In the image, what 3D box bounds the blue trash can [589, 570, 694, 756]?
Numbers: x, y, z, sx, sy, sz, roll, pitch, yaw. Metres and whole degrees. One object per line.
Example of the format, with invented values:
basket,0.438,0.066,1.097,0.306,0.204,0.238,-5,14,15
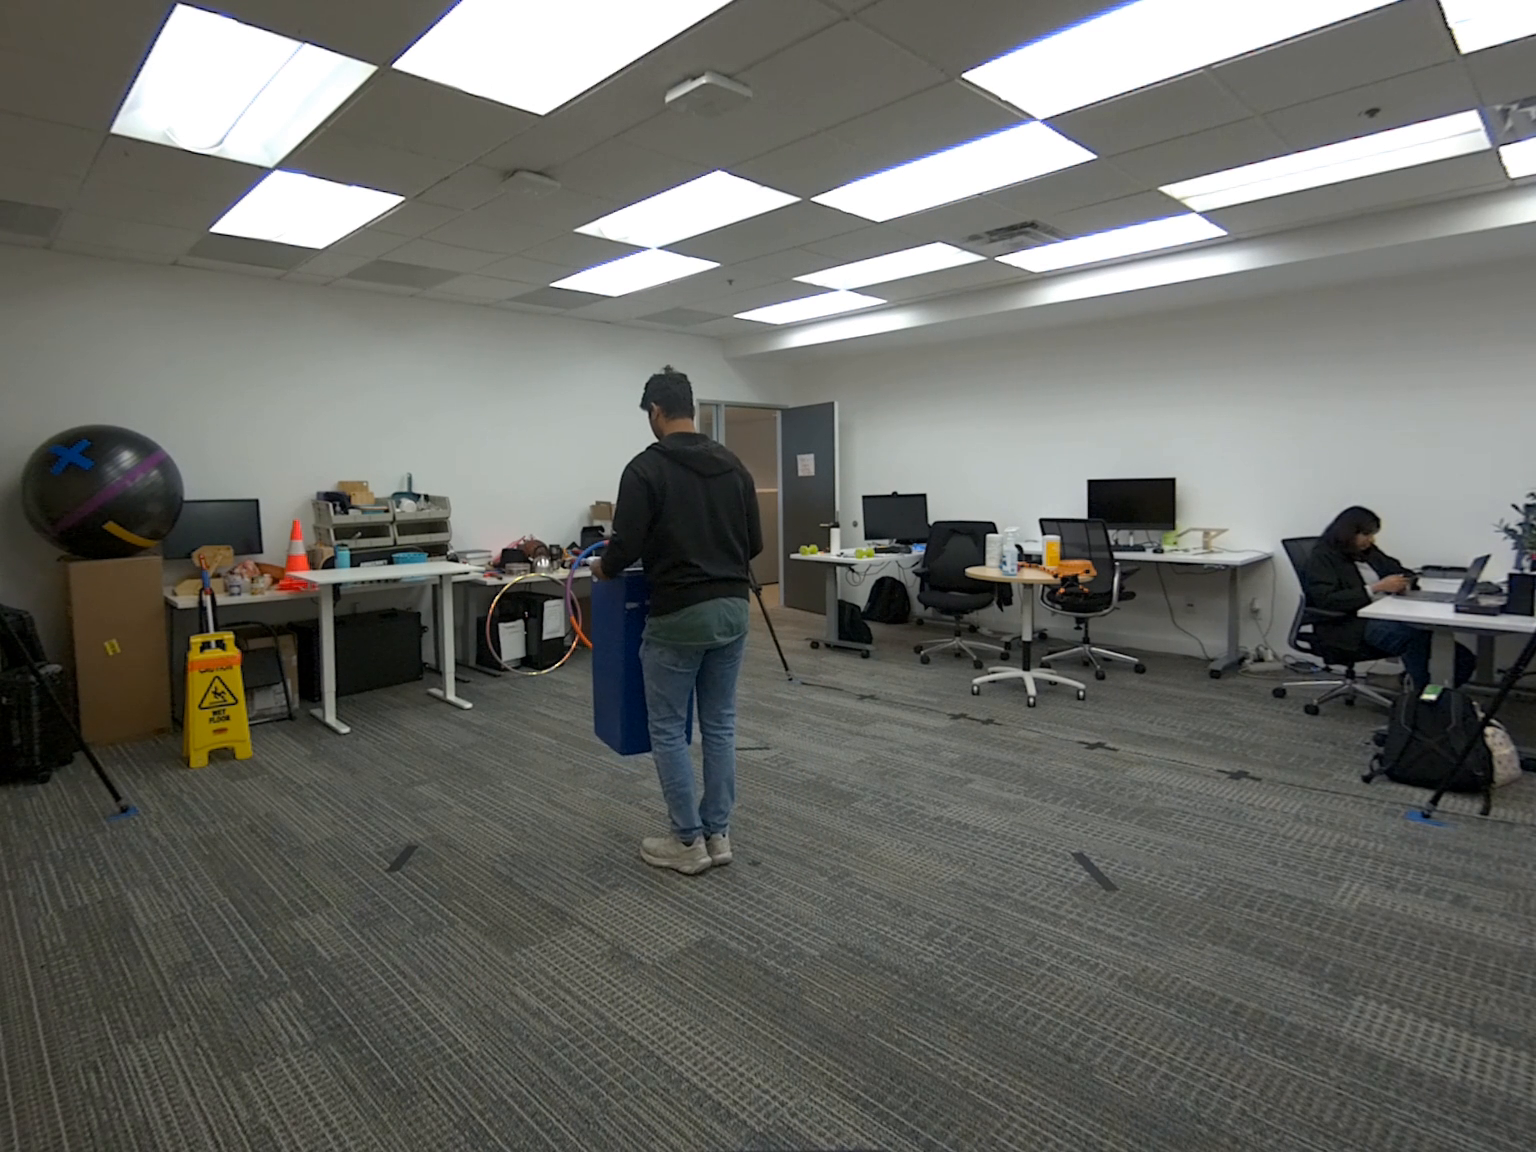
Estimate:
blue trash can,-0.488,0.306,3.381,0.365,0.710,0.389,-2,7,-32
